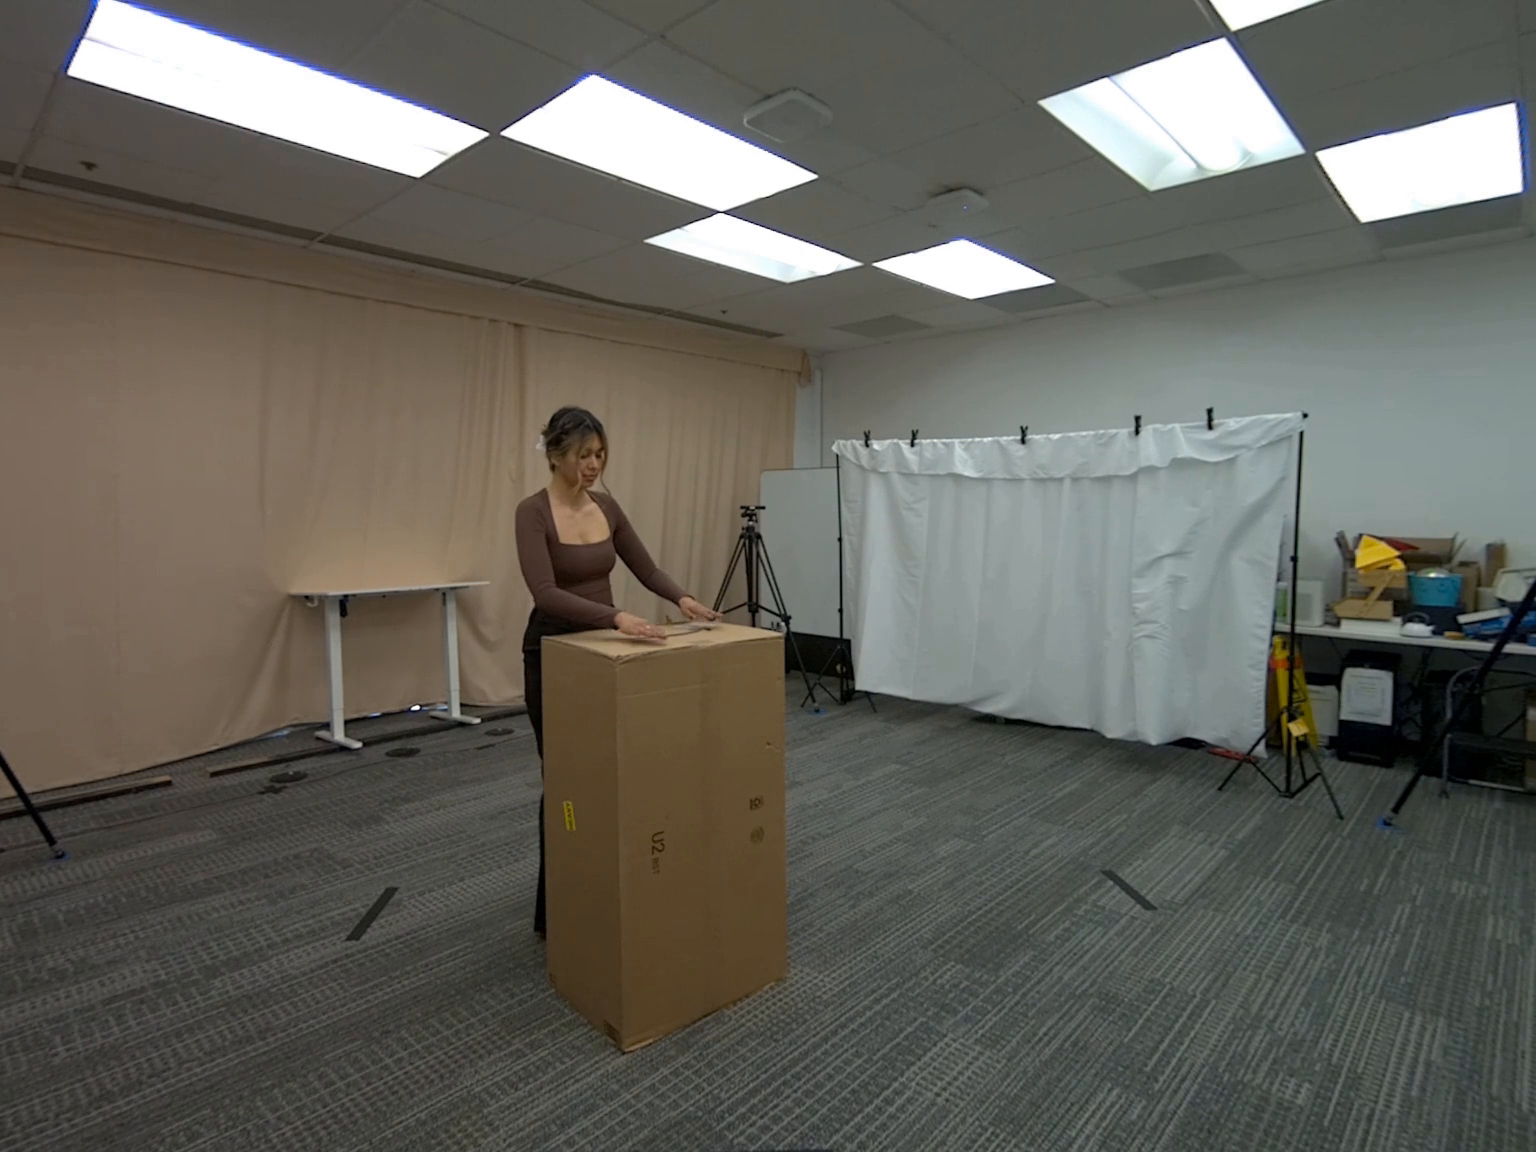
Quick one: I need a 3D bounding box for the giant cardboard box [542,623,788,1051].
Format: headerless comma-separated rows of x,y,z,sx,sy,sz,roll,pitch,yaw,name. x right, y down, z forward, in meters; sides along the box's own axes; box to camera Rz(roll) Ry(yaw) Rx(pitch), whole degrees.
-0.292,0.678,2.451,0.566,1.025,0.461,-3,3,-39,giant cardboard box
